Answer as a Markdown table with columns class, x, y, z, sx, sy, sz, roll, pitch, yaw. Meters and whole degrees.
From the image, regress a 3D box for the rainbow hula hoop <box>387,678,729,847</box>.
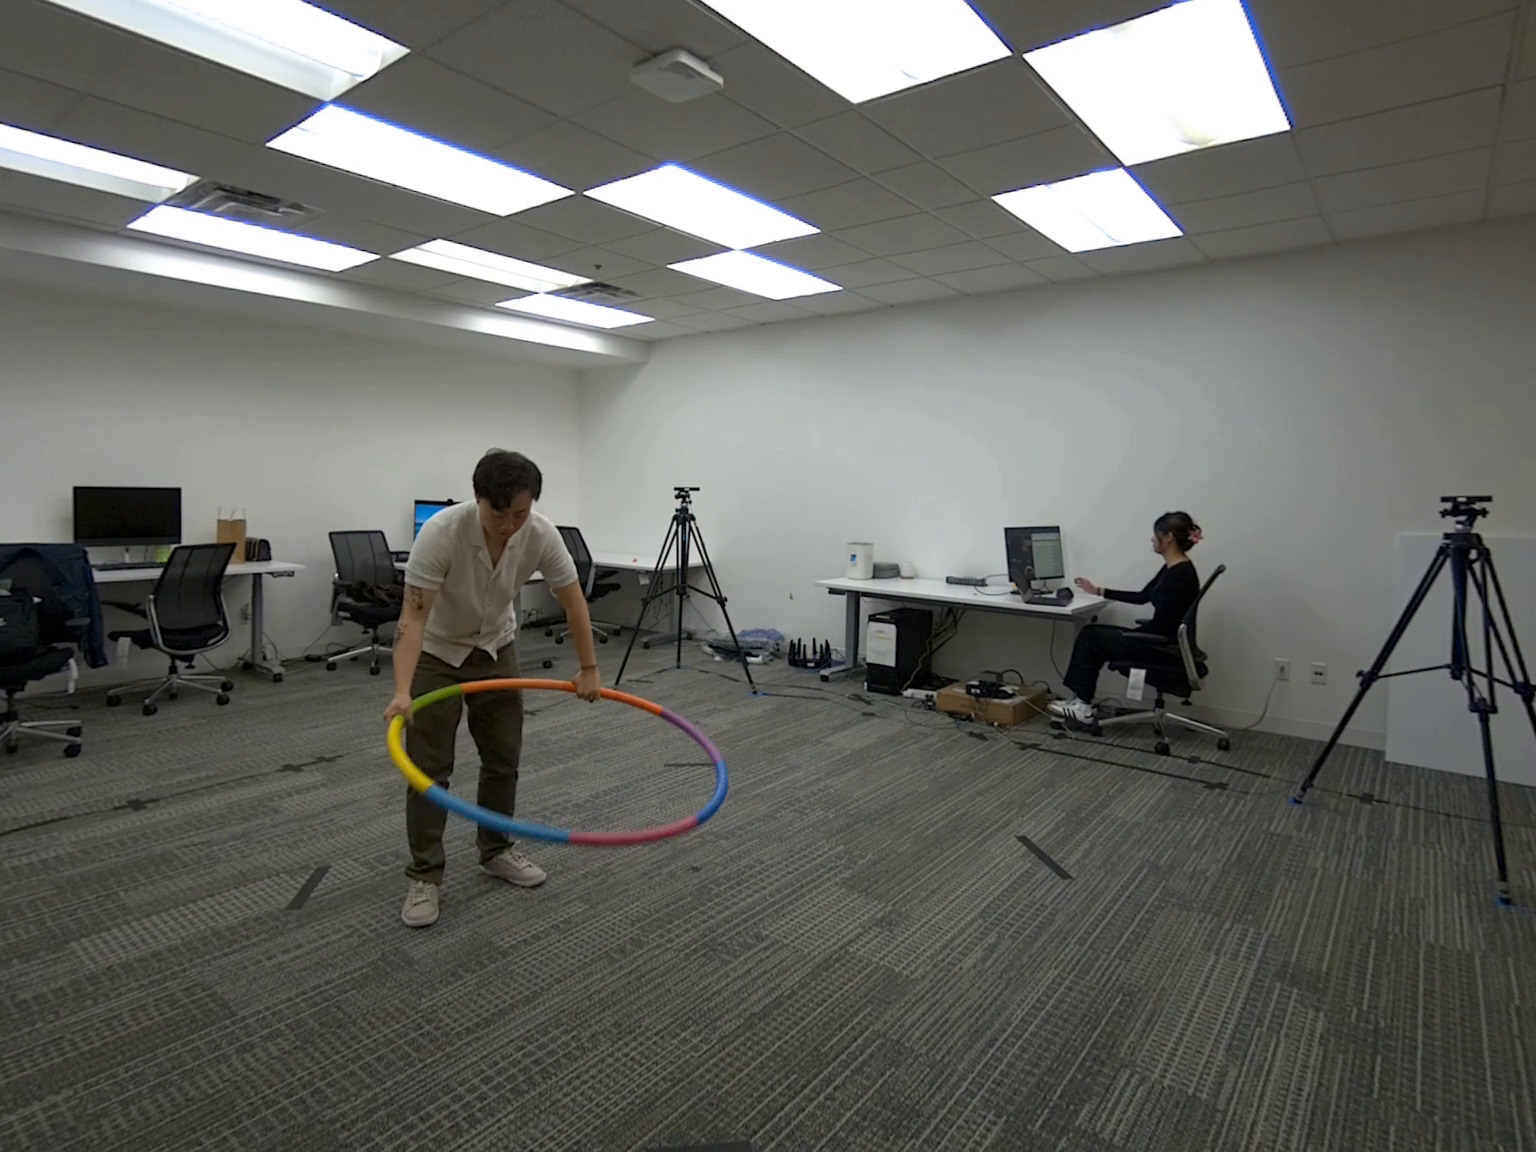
| class | x | y | z | sx | sy | sz | roll | pitch | yaw |
| --- | --- | --- | --- | --- | --- | --- | --- | --- | --- |
| rainbow hula hoop | -0.614 | 0.494 | 2.505 | 0.975 | 0.035 | 0.990 | 11 | 12 | -4 |
